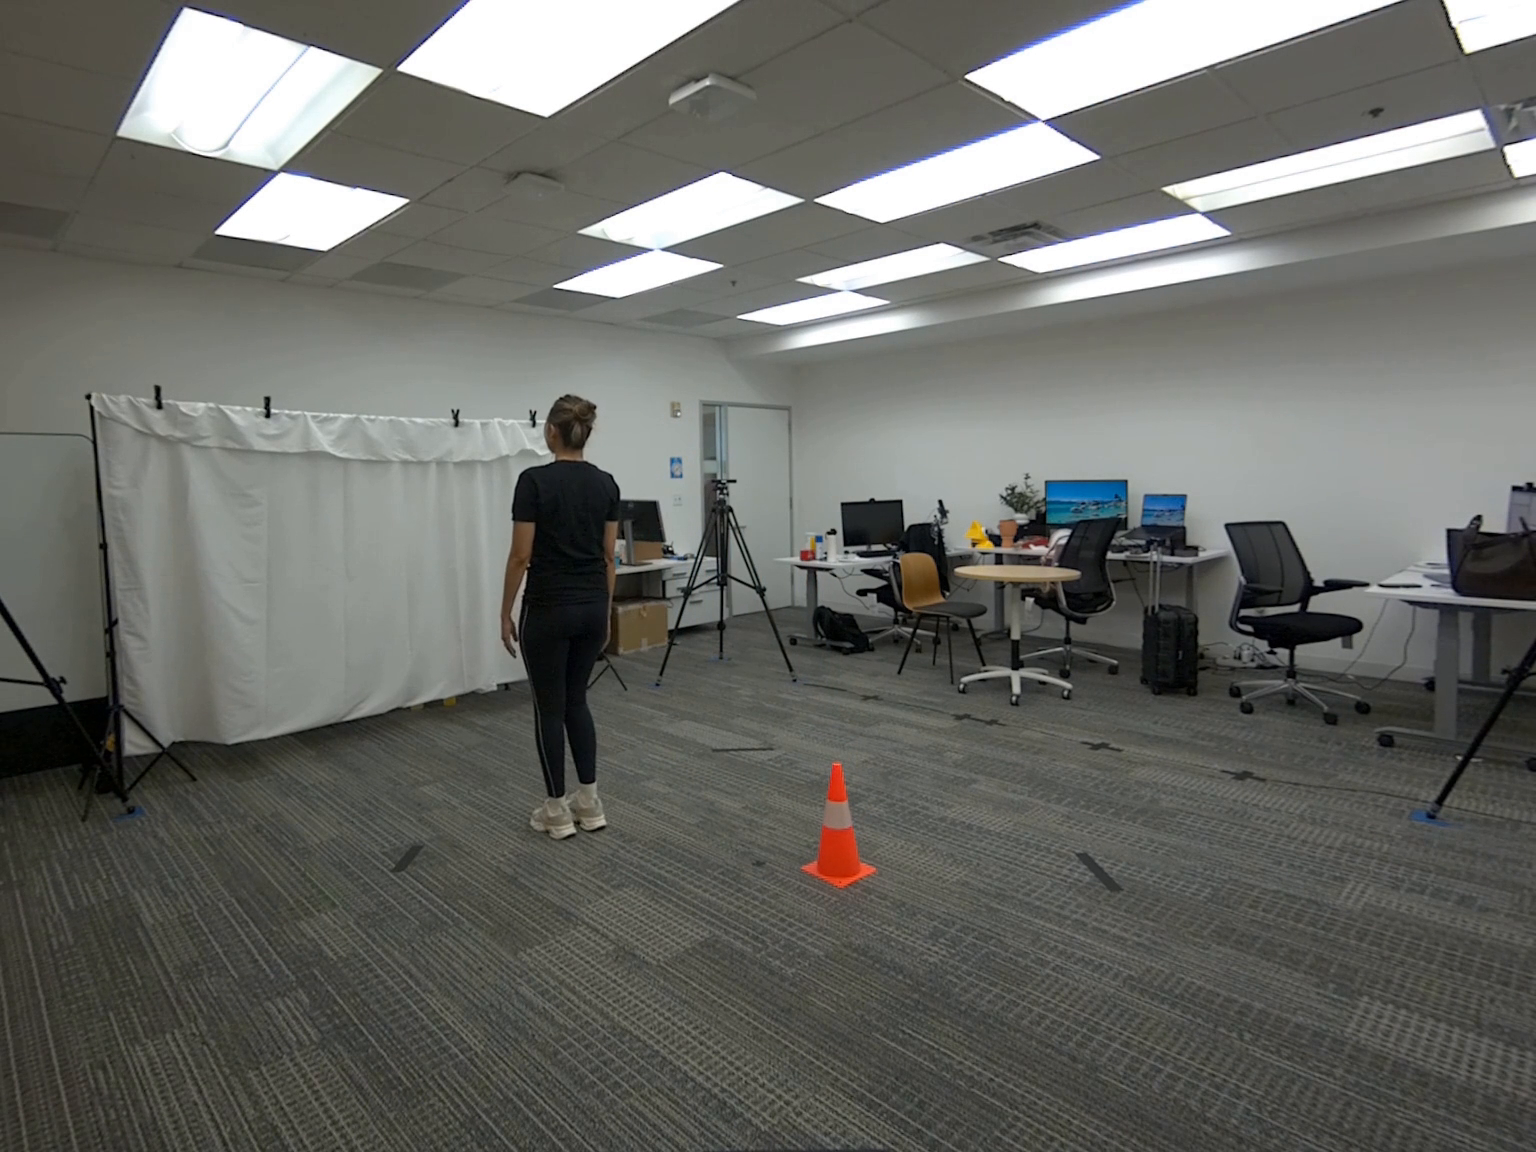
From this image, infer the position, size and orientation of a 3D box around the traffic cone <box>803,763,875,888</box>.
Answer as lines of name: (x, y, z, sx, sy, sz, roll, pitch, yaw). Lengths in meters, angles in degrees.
traffic cone: (0.258, 0.867, 3.041, 0.200, 0.382, 0.209, -3, 4, -32)
